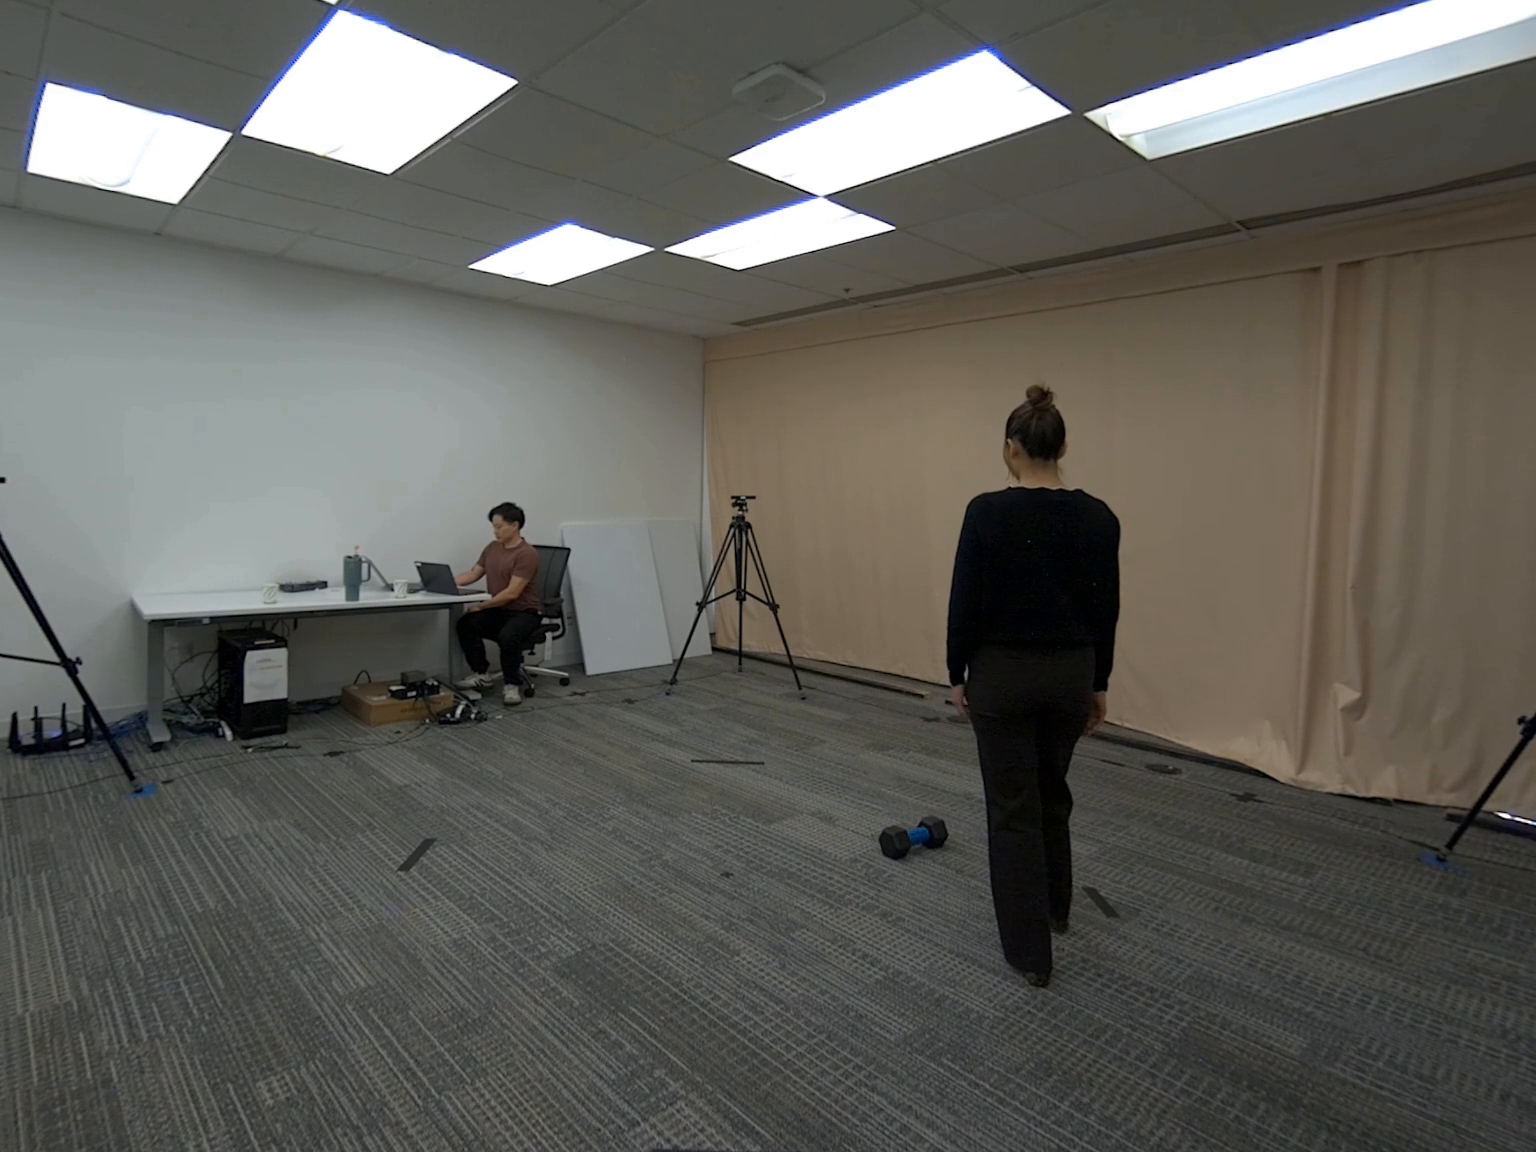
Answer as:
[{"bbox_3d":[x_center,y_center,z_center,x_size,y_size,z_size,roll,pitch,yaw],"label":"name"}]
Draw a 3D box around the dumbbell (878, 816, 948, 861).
[{"bbox_3d":[0.574,1.041,3.362,0.287,0.121,0.112,-2,36,-35],"label":"dumbbell"}]
